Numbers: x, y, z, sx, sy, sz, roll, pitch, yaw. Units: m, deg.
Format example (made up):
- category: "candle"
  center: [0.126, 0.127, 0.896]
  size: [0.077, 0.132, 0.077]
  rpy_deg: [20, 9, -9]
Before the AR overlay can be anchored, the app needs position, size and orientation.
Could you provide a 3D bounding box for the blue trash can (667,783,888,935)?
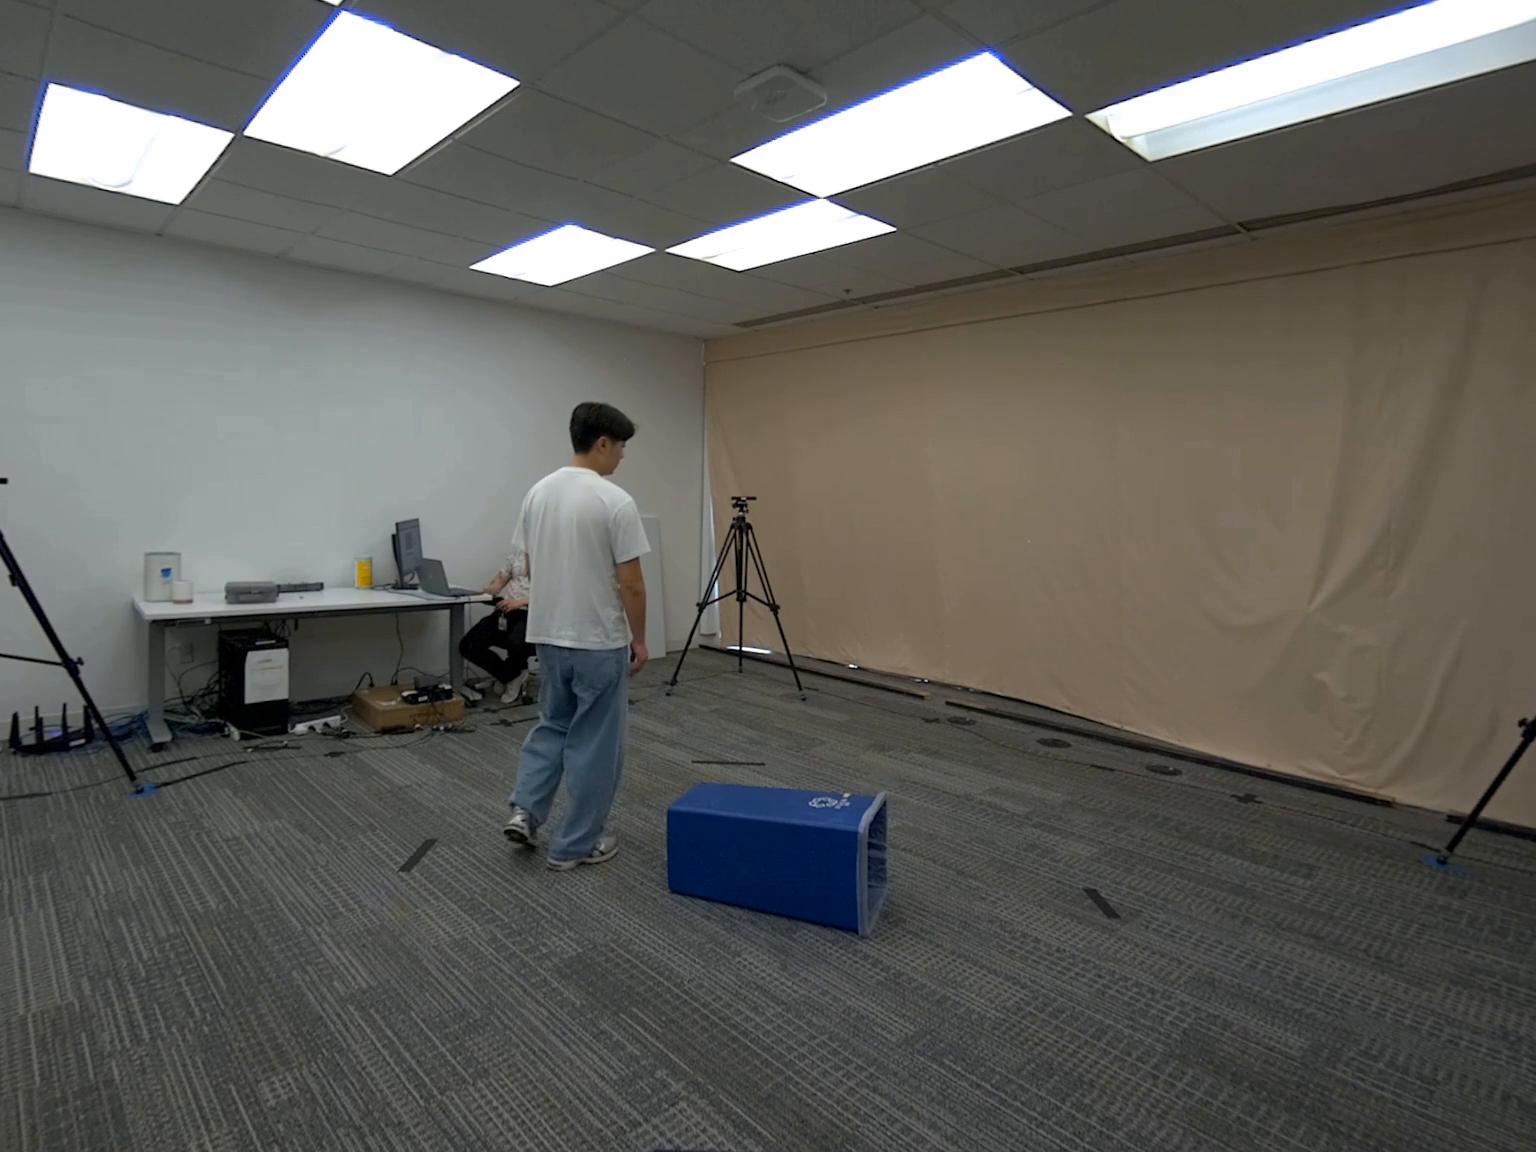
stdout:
- category: "blue trash can"
  center: [0.026, 0.954, 2.946]
  size: [0.725, 0.377, 0.369]
  rpy_deg: [0, 4, 21]
